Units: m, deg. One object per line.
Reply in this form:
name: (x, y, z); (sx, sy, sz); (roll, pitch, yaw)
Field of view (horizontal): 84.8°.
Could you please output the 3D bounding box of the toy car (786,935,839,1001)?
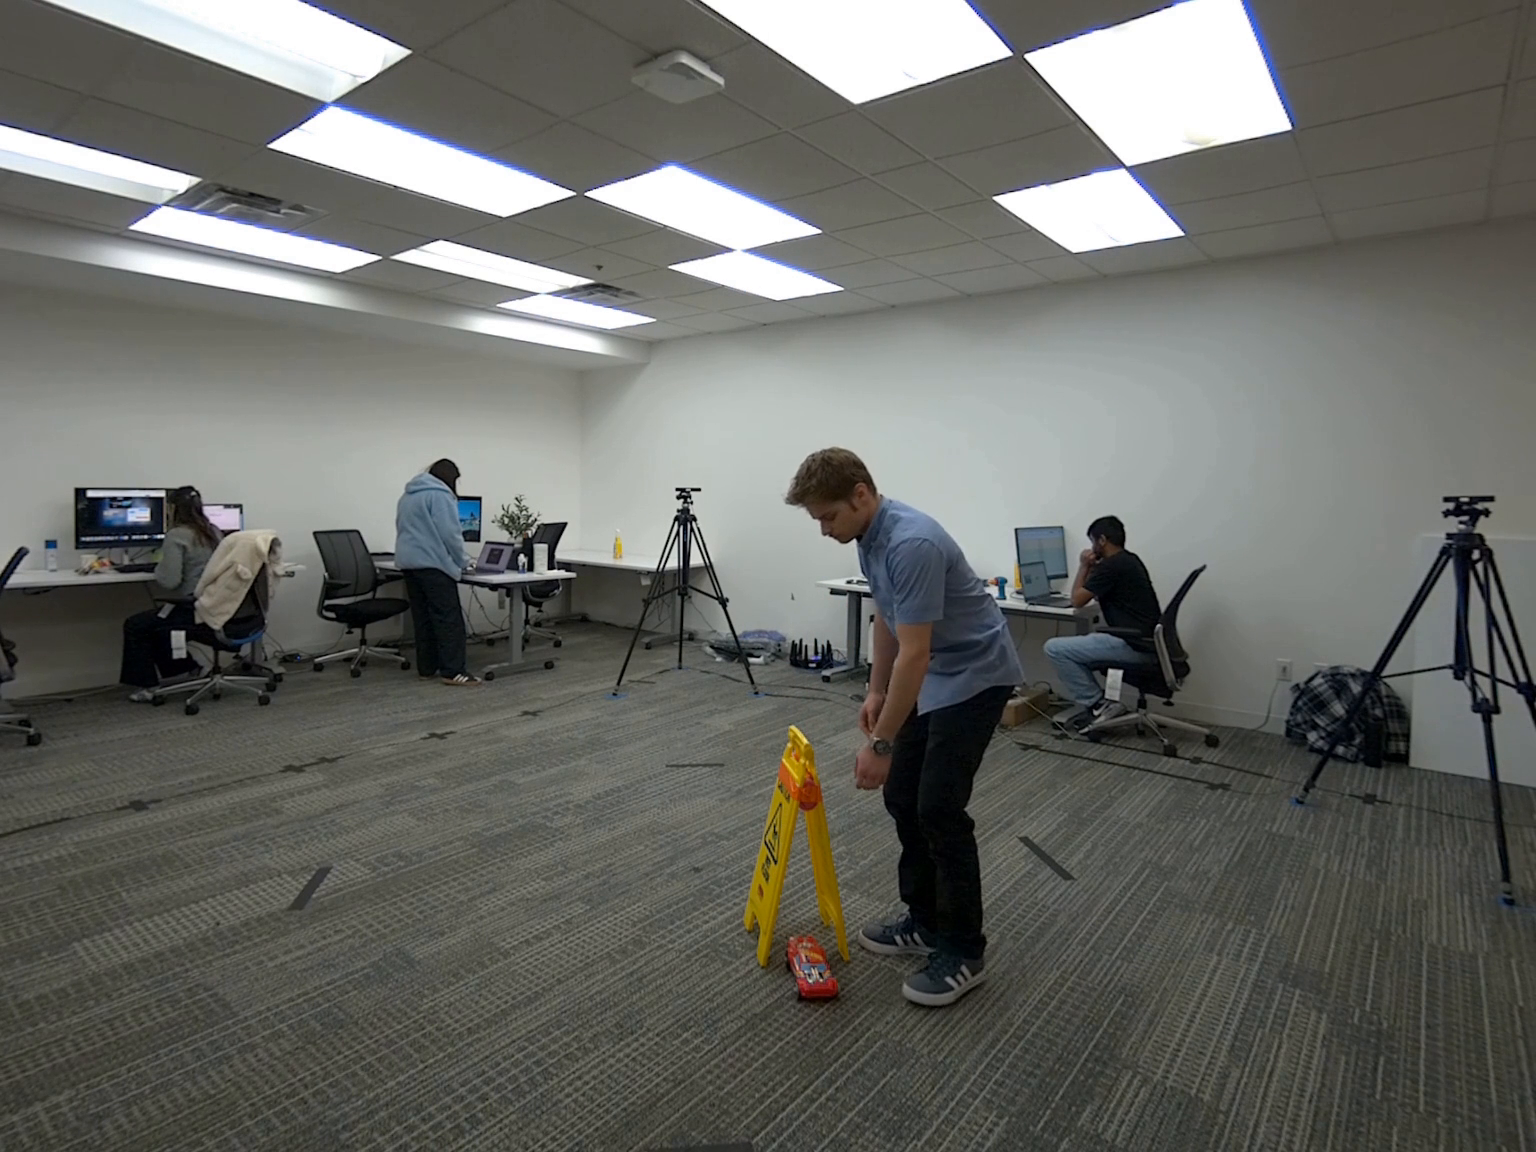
toy car: (0.119, 1.115, 2.417); (0.129, 0.082, 0.259); (-1, 16, -6)
